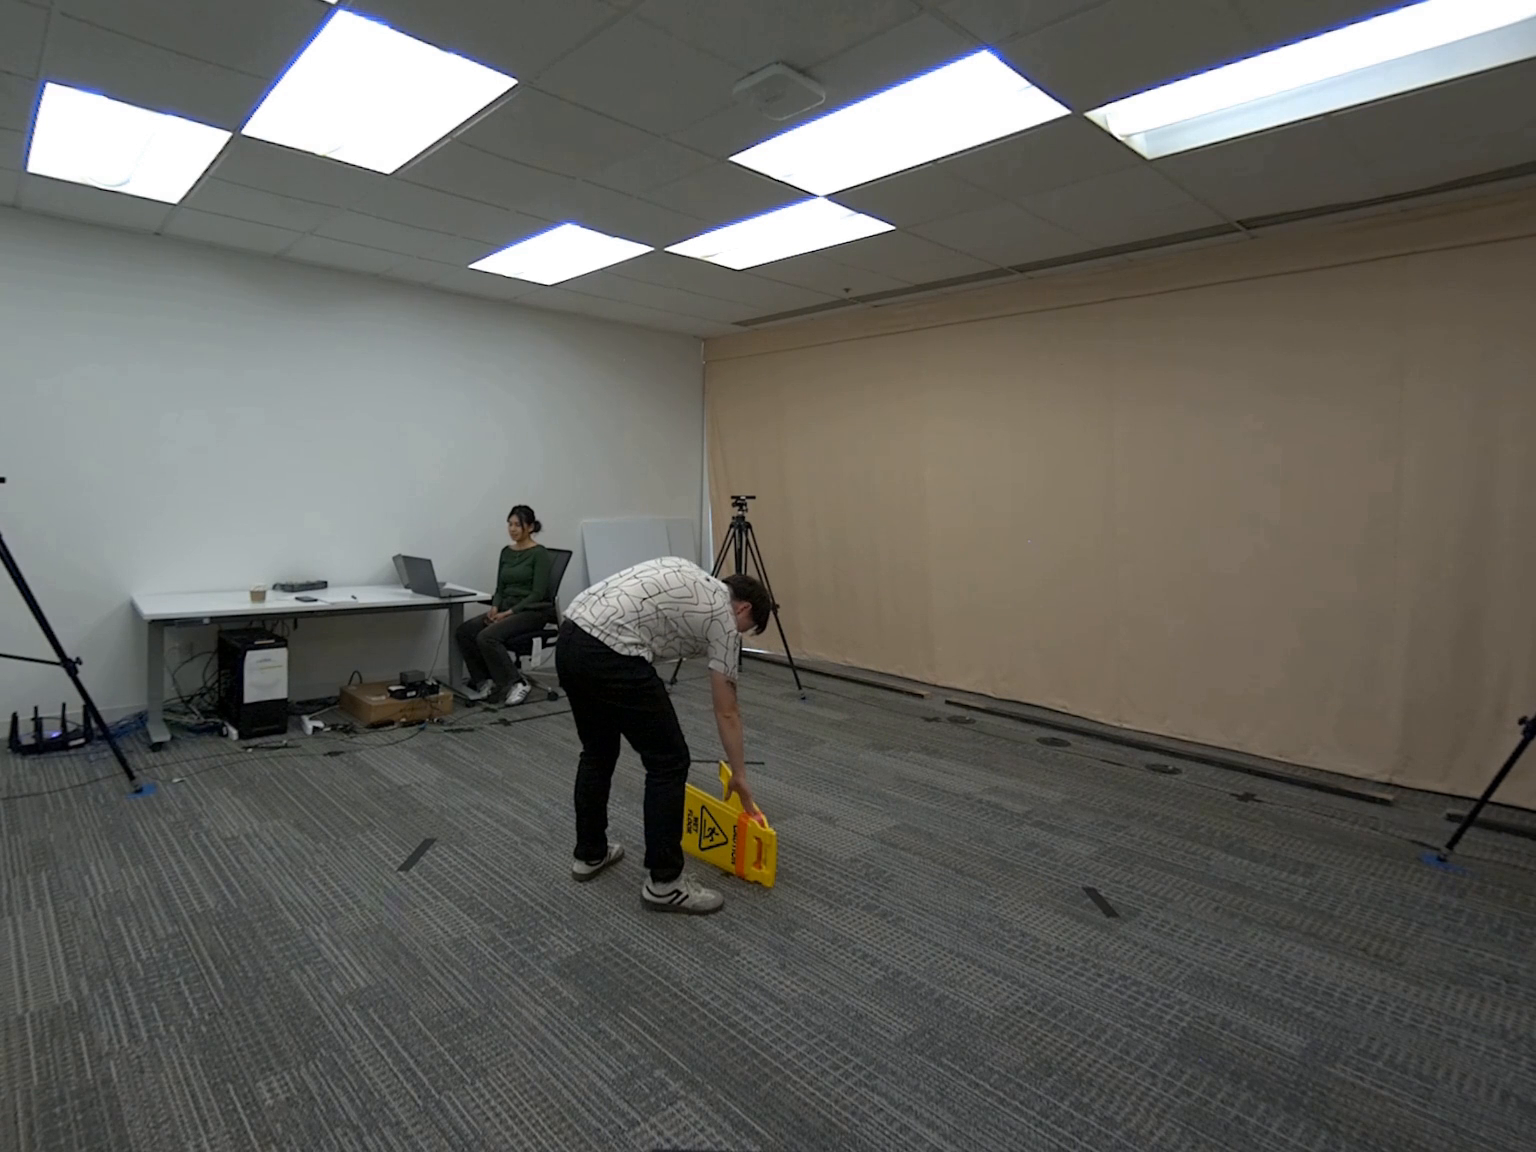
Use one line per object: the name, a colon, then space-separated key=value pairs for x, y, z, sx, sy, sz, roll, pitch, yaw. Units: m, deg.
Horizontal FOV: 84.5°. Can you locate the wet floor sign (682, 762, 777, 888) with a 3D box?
wet floor sign: x=-0.160 y=0.961 z=3.230 sx=0.284 sy=0.281 sz=0.662 roll=-2 pitch=7 yaw=-33
